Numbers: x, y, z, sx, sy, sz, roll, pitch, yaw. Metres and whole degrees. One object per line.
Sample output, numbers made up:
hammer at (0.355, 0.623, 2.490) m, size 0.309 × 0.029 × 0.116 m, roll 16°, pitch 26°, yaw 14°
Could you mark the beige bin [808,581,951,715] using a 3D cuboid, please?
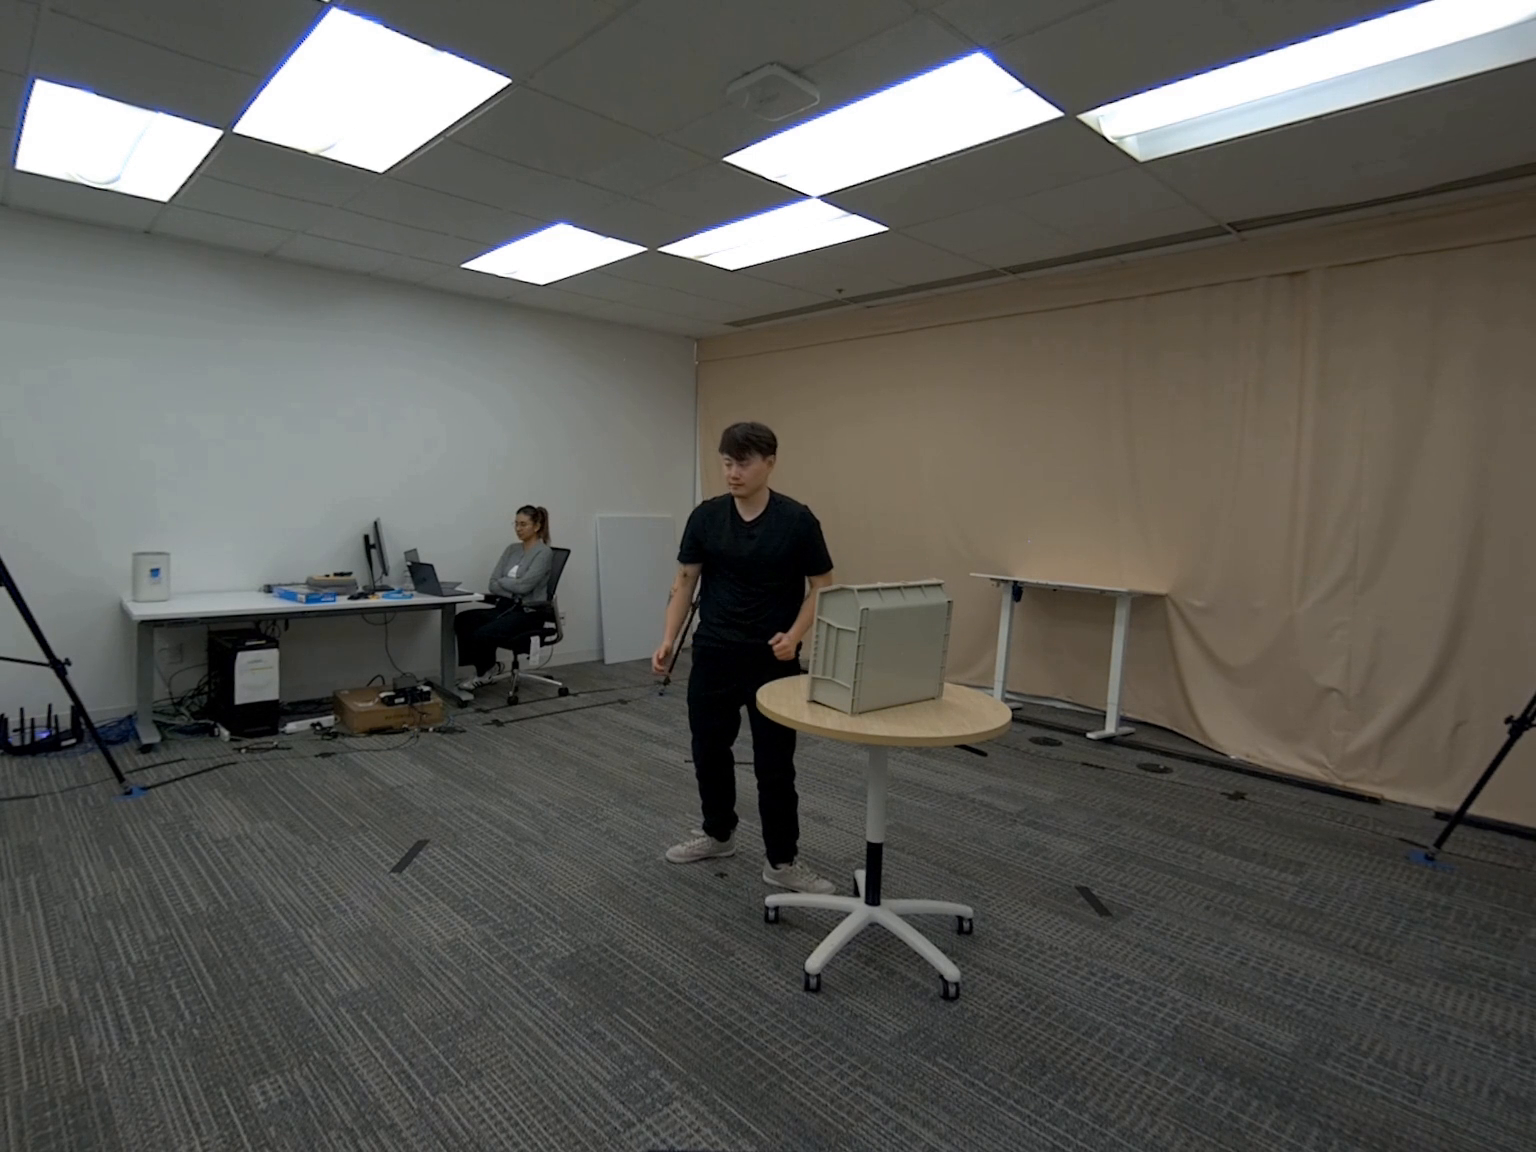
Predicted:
beige bin at (0.346, 0.203, 2.550) m, size 0.413 × 0.375 × 0.194 m, roll -2°, pitch 10°, yaw -40°
